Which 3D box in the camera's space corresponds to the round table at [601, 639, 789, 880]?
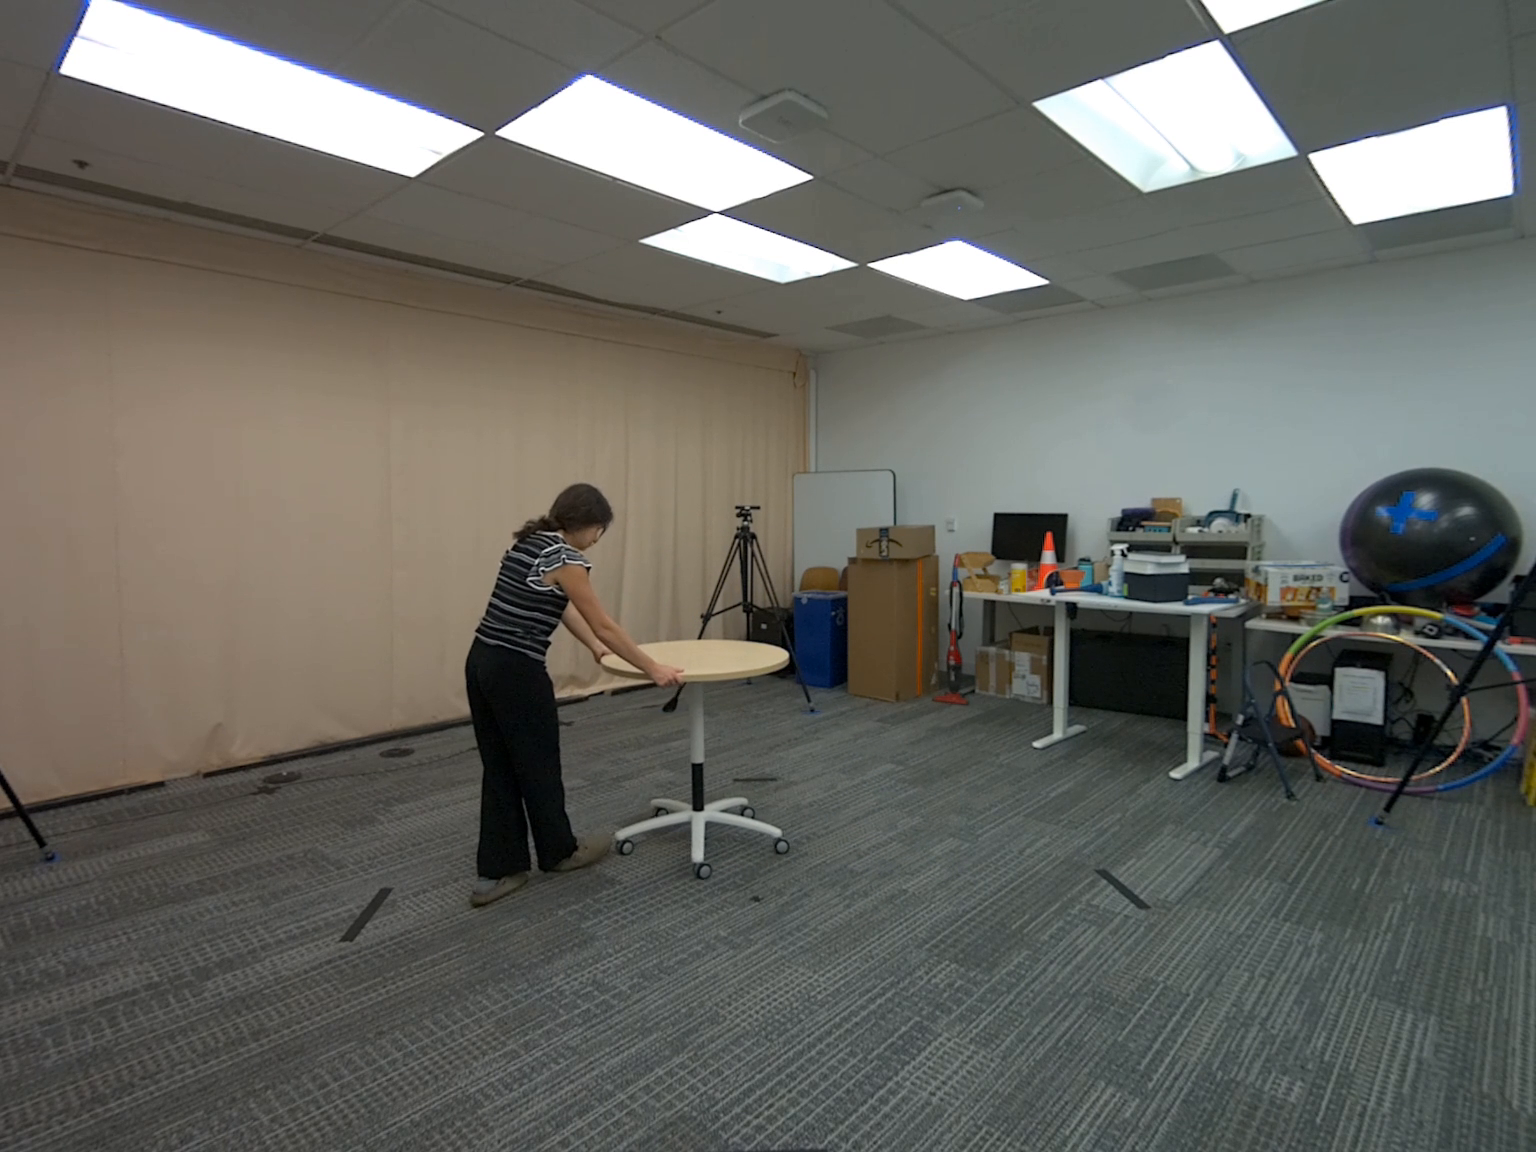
[{"bbox_3d":[-0.279,0.718,3.461,0.763,0.792,0.767,-1,4,-2],"label":"round table"}]
